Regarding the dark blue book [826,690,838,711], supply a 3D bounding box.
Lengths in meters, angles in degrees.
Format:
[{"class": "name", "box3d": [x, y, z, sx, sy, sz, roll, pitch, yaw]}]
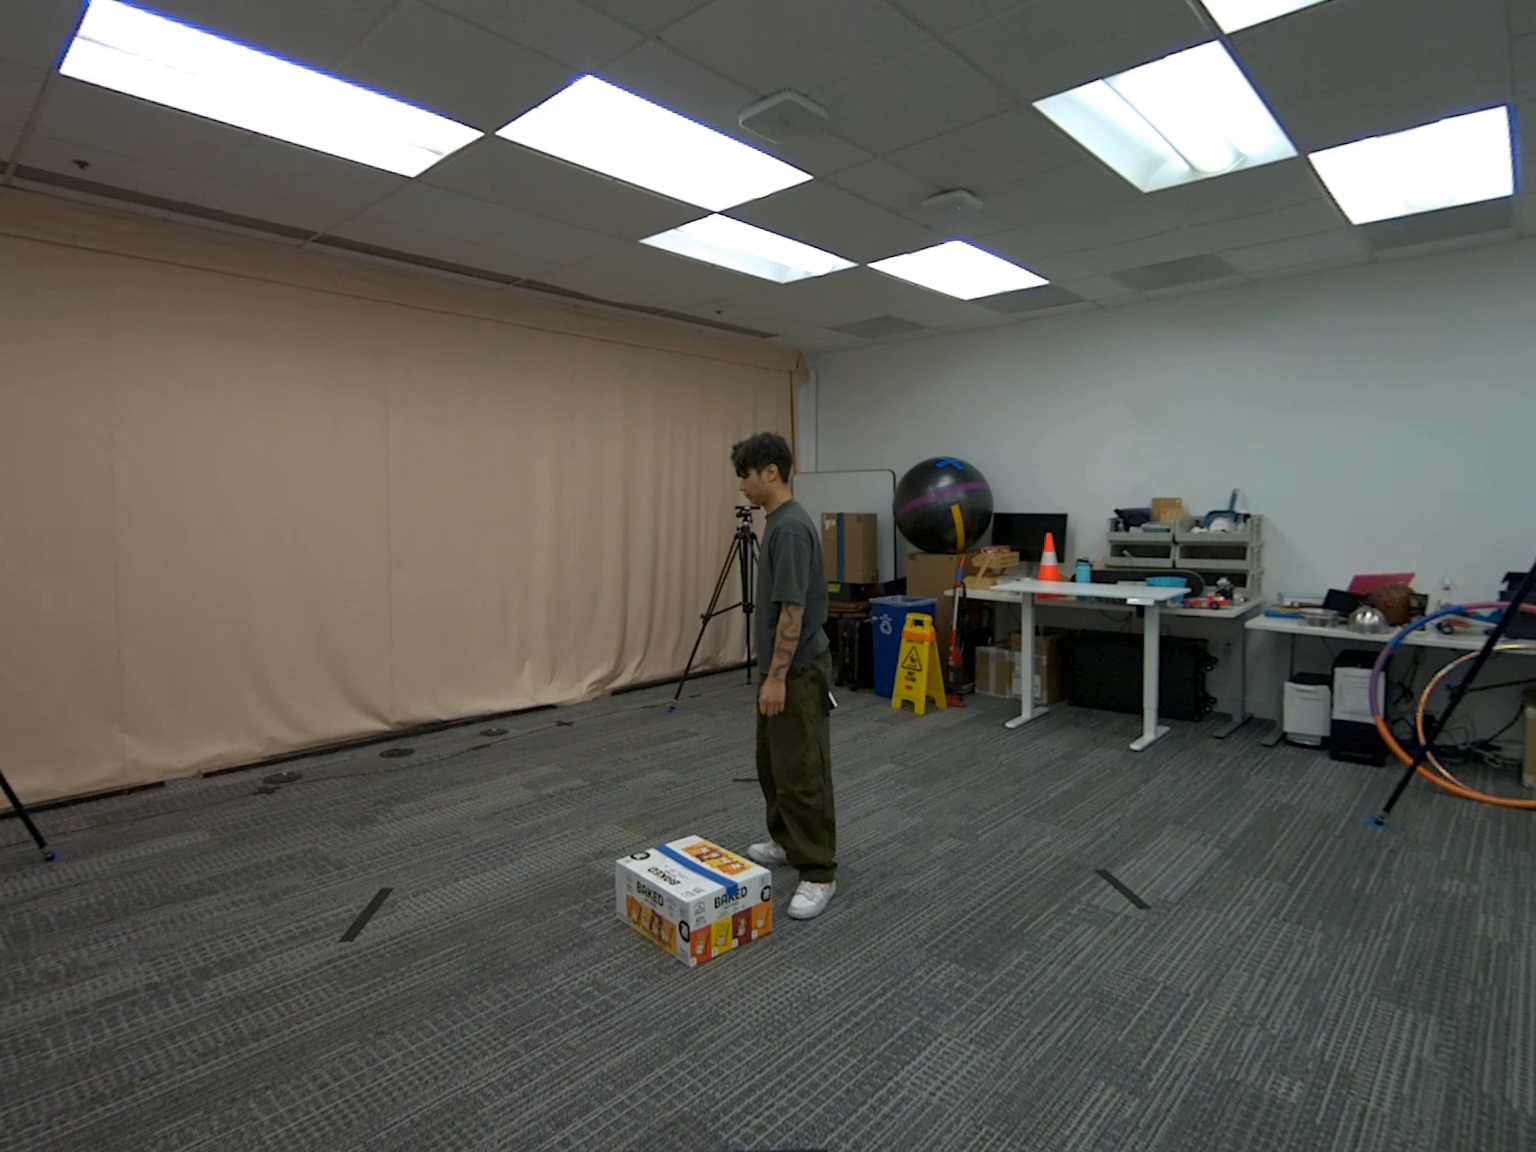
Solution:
[{"class": "dark blue book", "box3d": [0.134, 0.499, 3.361, 0.248, 0.166, 0.044, -33, -16, 21]}]
